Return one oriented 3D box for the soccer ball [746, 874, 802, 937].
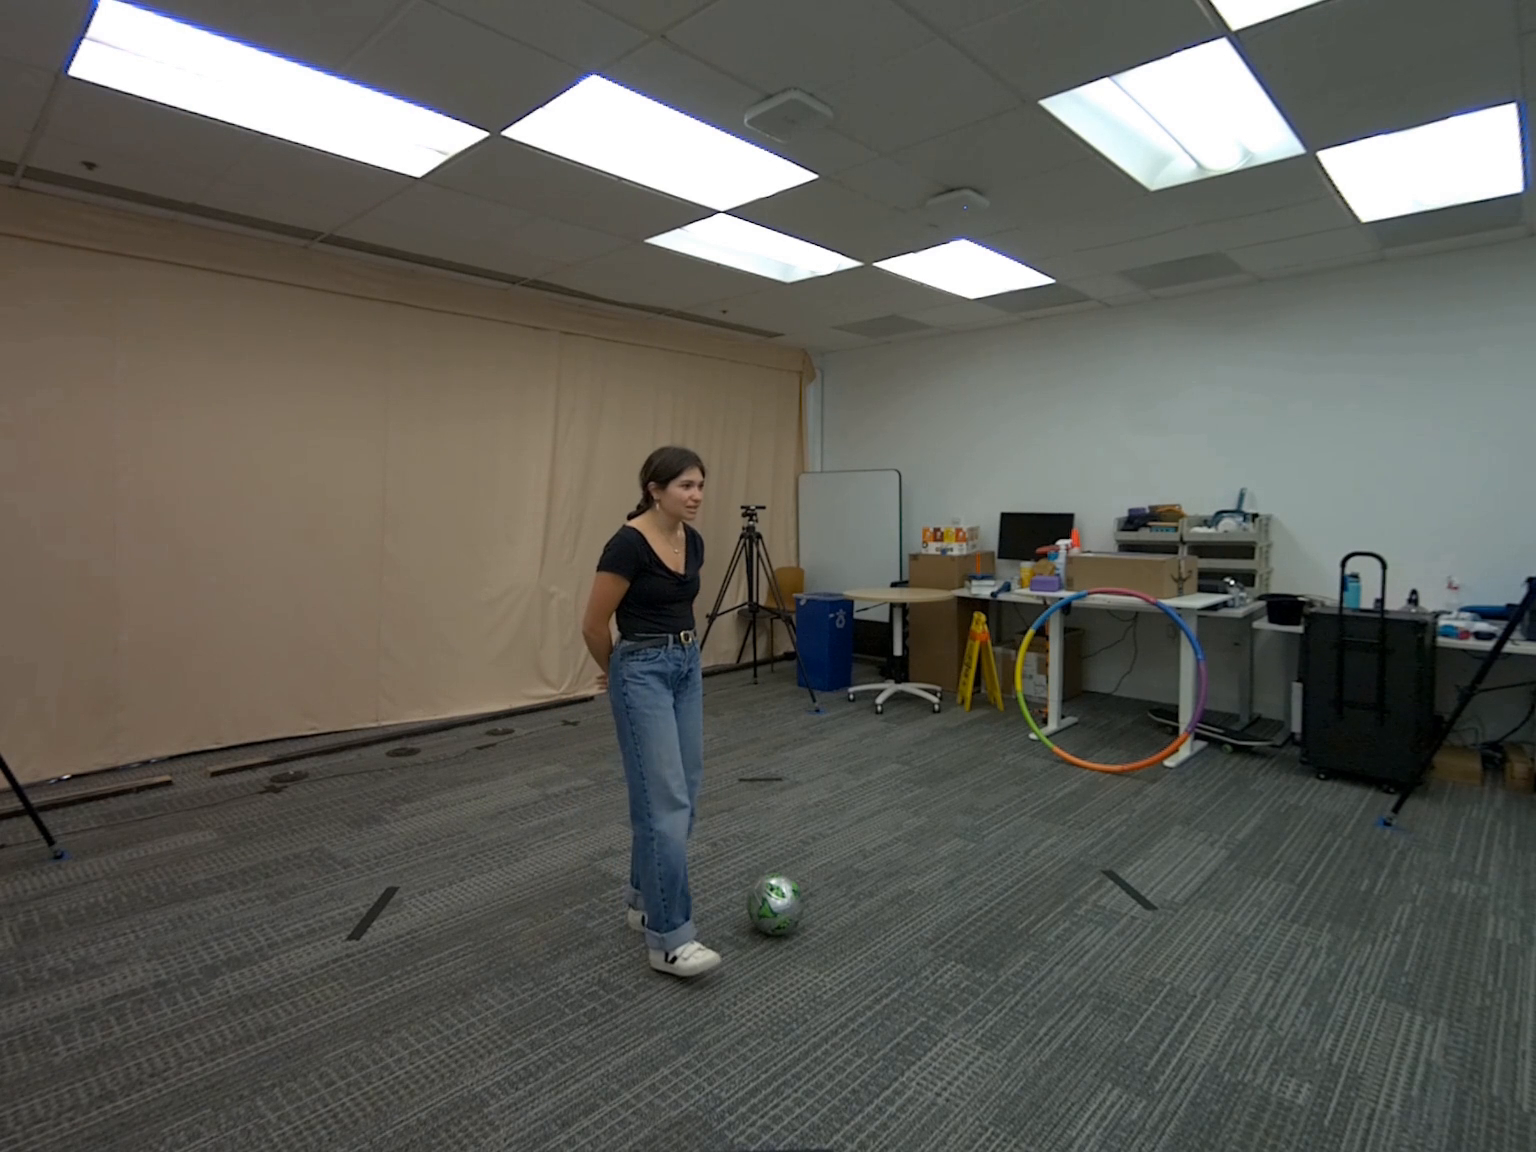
[{"bbox_3d":[0.036,1.071,2.743,0.187,0.187,0.188,0,4,-2],"label":"soccer ball"}]
